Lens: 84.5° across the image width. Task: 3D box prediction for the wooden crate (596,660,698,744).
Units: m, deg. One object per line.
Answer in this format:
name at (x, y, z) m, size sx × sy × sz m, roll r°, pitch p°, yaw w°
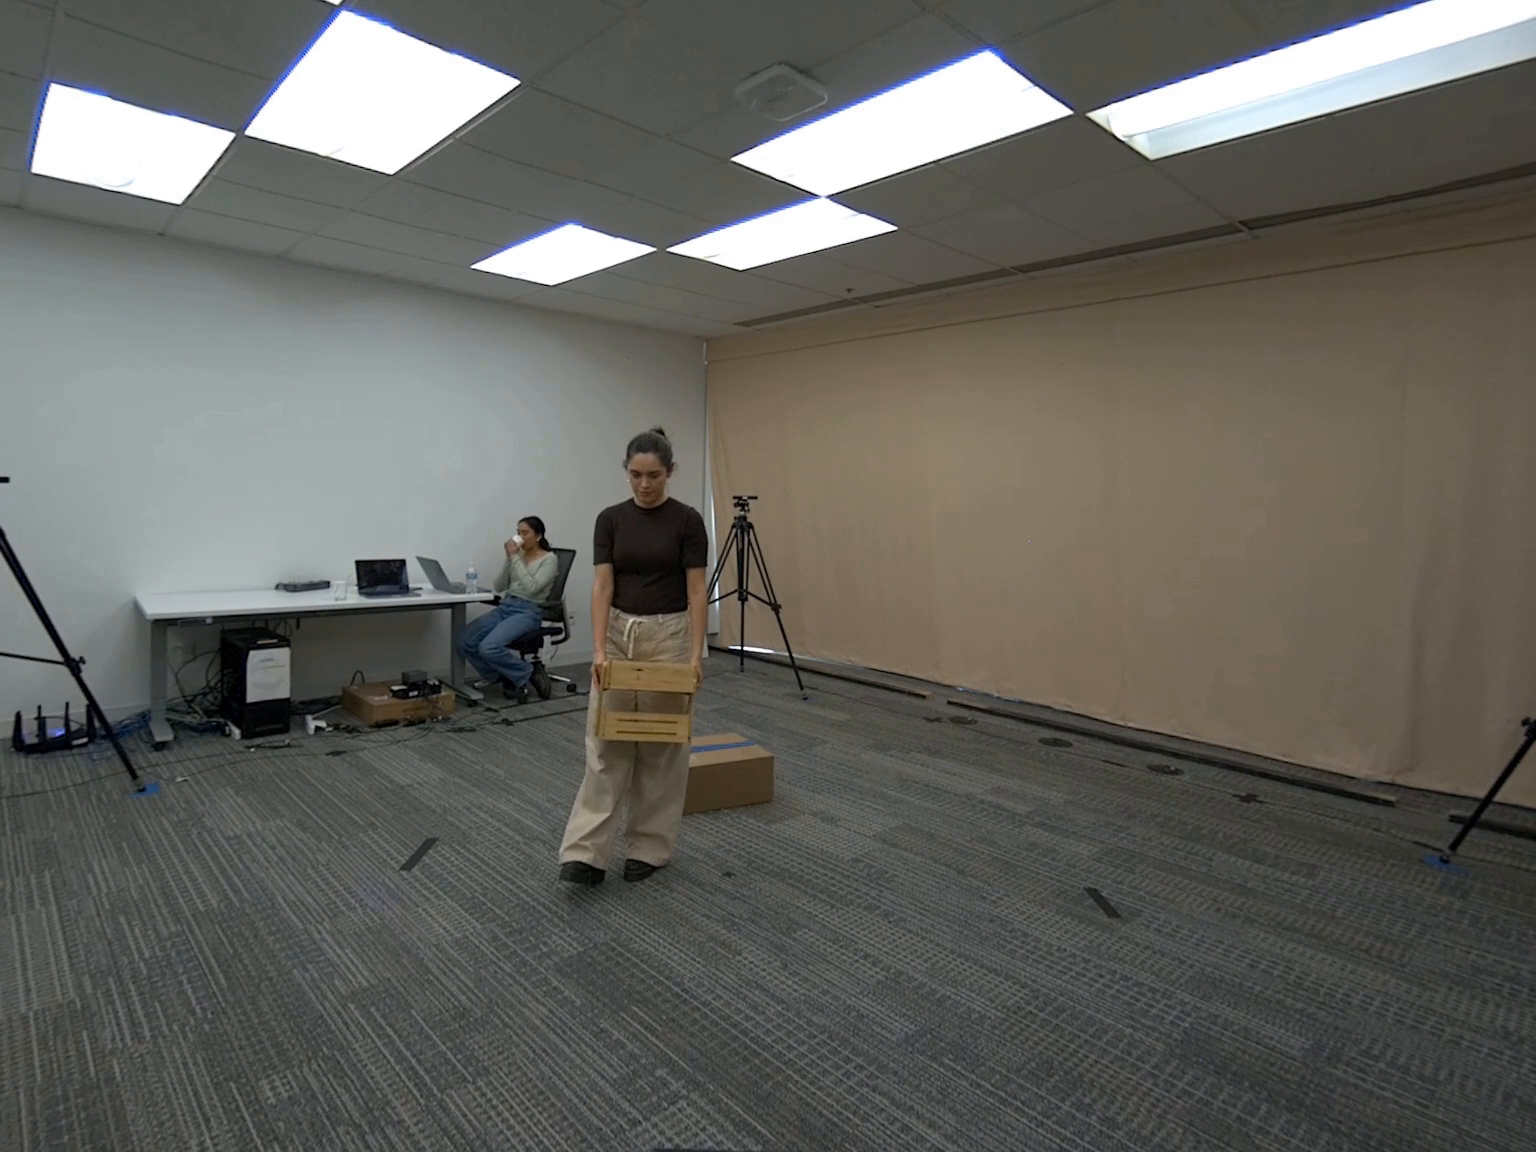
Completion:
wooden crate at (-0.442, 0.431, 2.926) m, size 0.320 × 0.275 × 0.304 m, roll 5°, pitch -9°, yaw -15°
